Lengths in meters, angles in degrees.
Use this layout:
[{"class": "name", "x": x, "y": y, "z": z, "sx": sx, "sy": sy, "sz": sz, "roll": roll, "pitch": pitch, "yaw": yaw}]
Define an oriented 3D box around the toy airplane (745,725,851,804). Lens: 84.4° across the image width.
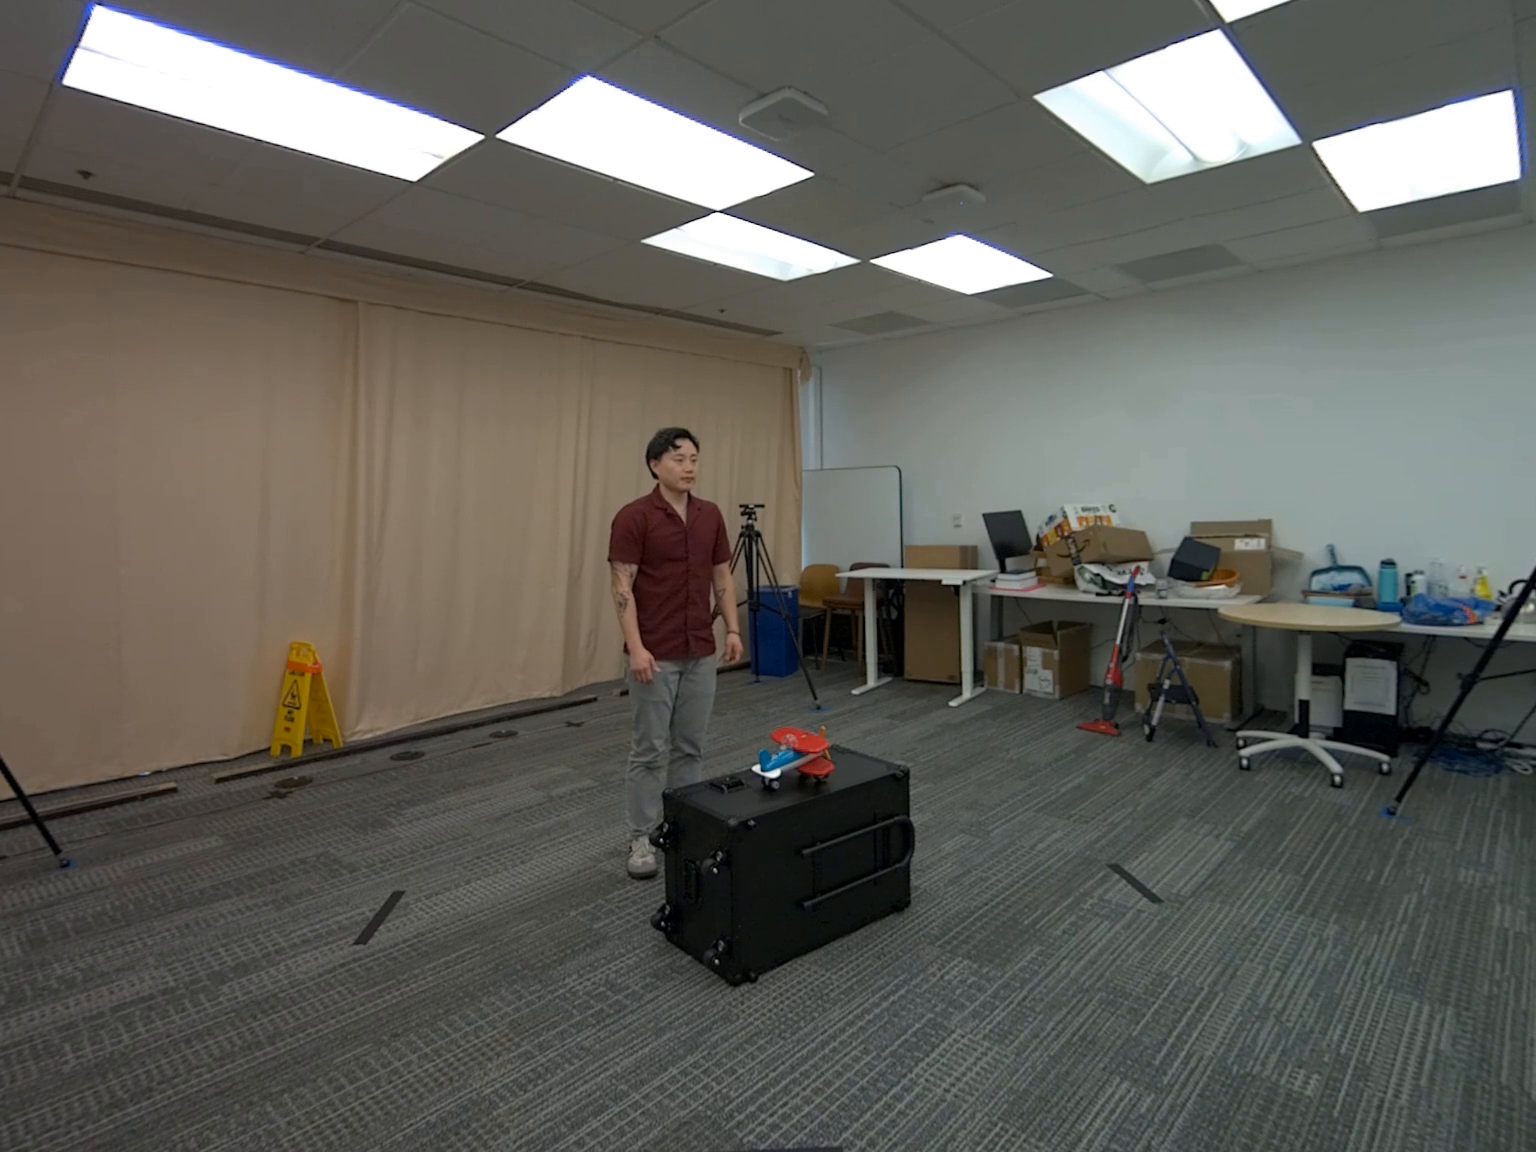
[{"class": "toy airplane", "x": 0.098, "y": 0.599, "z": 2.732, "sx": 0.258, "sy": 0.156, "sz": 0.252, "roll": 1, "pitch": 3, "yaw": 29}]
